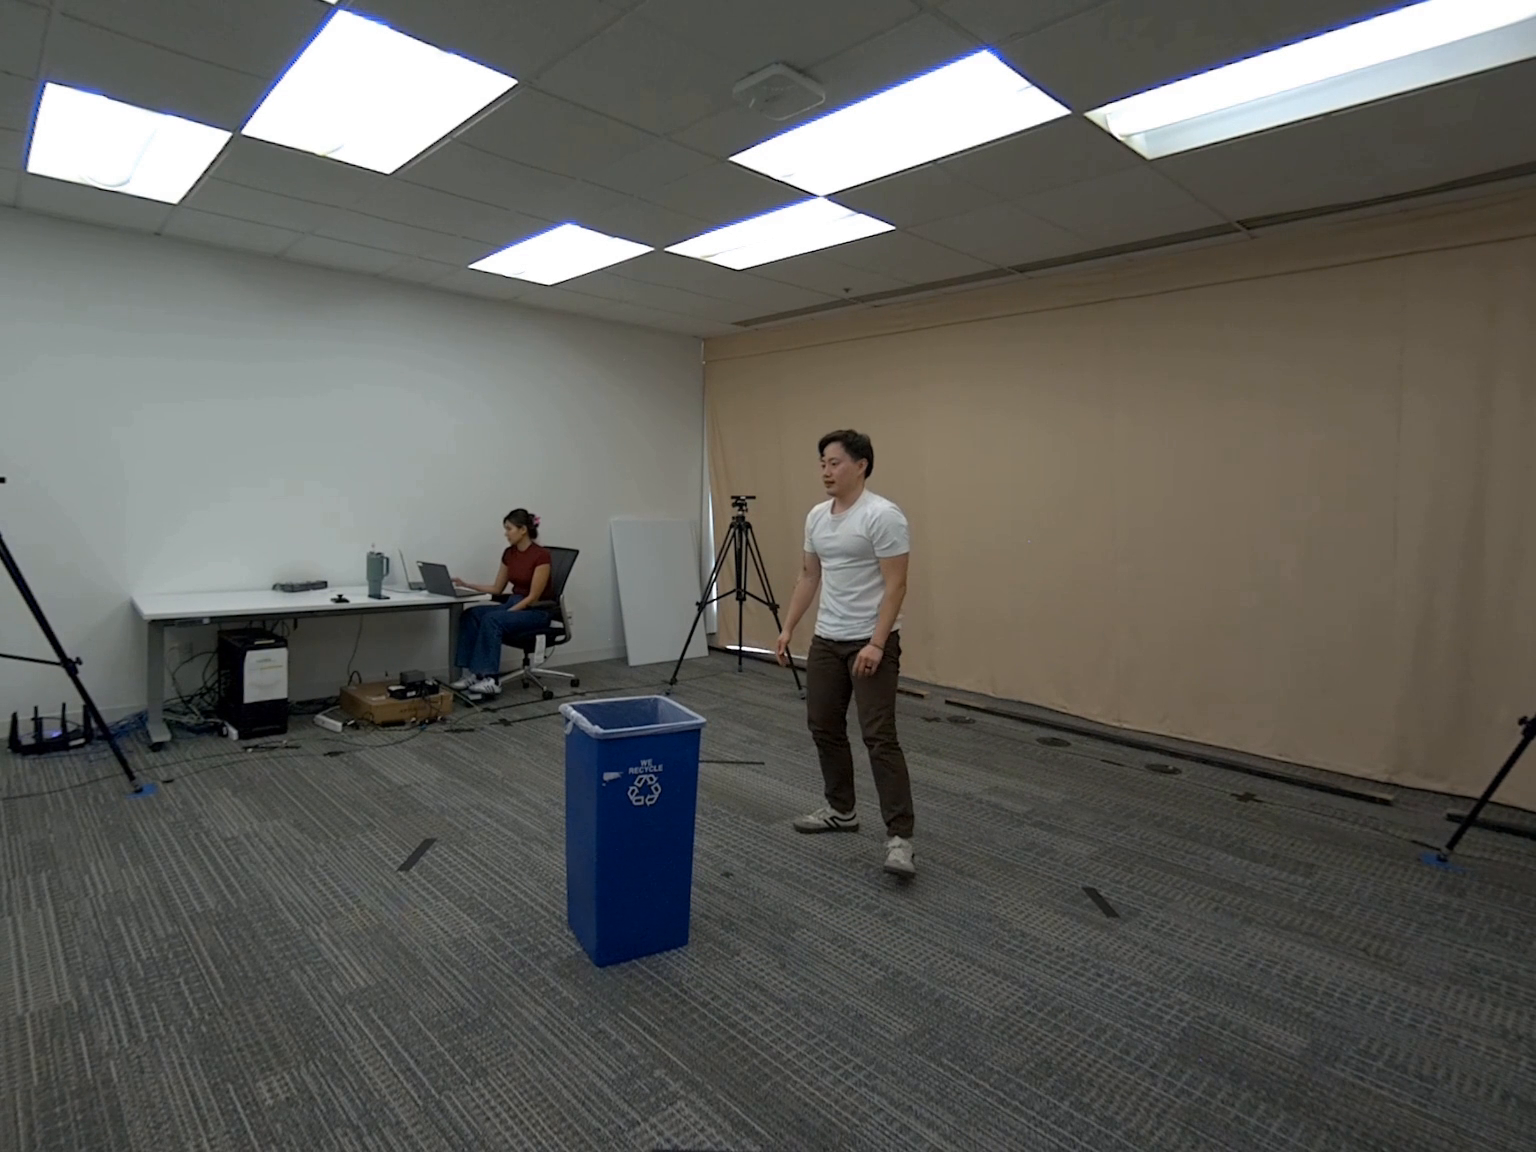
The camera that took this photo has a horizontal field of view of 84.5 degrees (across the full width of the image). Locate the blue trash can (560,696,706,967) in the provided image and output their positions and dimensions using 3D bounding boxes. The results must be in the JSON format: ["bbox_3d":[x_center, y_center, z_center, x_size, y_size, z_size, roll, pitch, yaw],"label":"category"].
[{"bbox_3d":[-0.440,0.781,2.644,0.370,0.712,0.382,0,3,-31],"label":"blue trash can"}]
